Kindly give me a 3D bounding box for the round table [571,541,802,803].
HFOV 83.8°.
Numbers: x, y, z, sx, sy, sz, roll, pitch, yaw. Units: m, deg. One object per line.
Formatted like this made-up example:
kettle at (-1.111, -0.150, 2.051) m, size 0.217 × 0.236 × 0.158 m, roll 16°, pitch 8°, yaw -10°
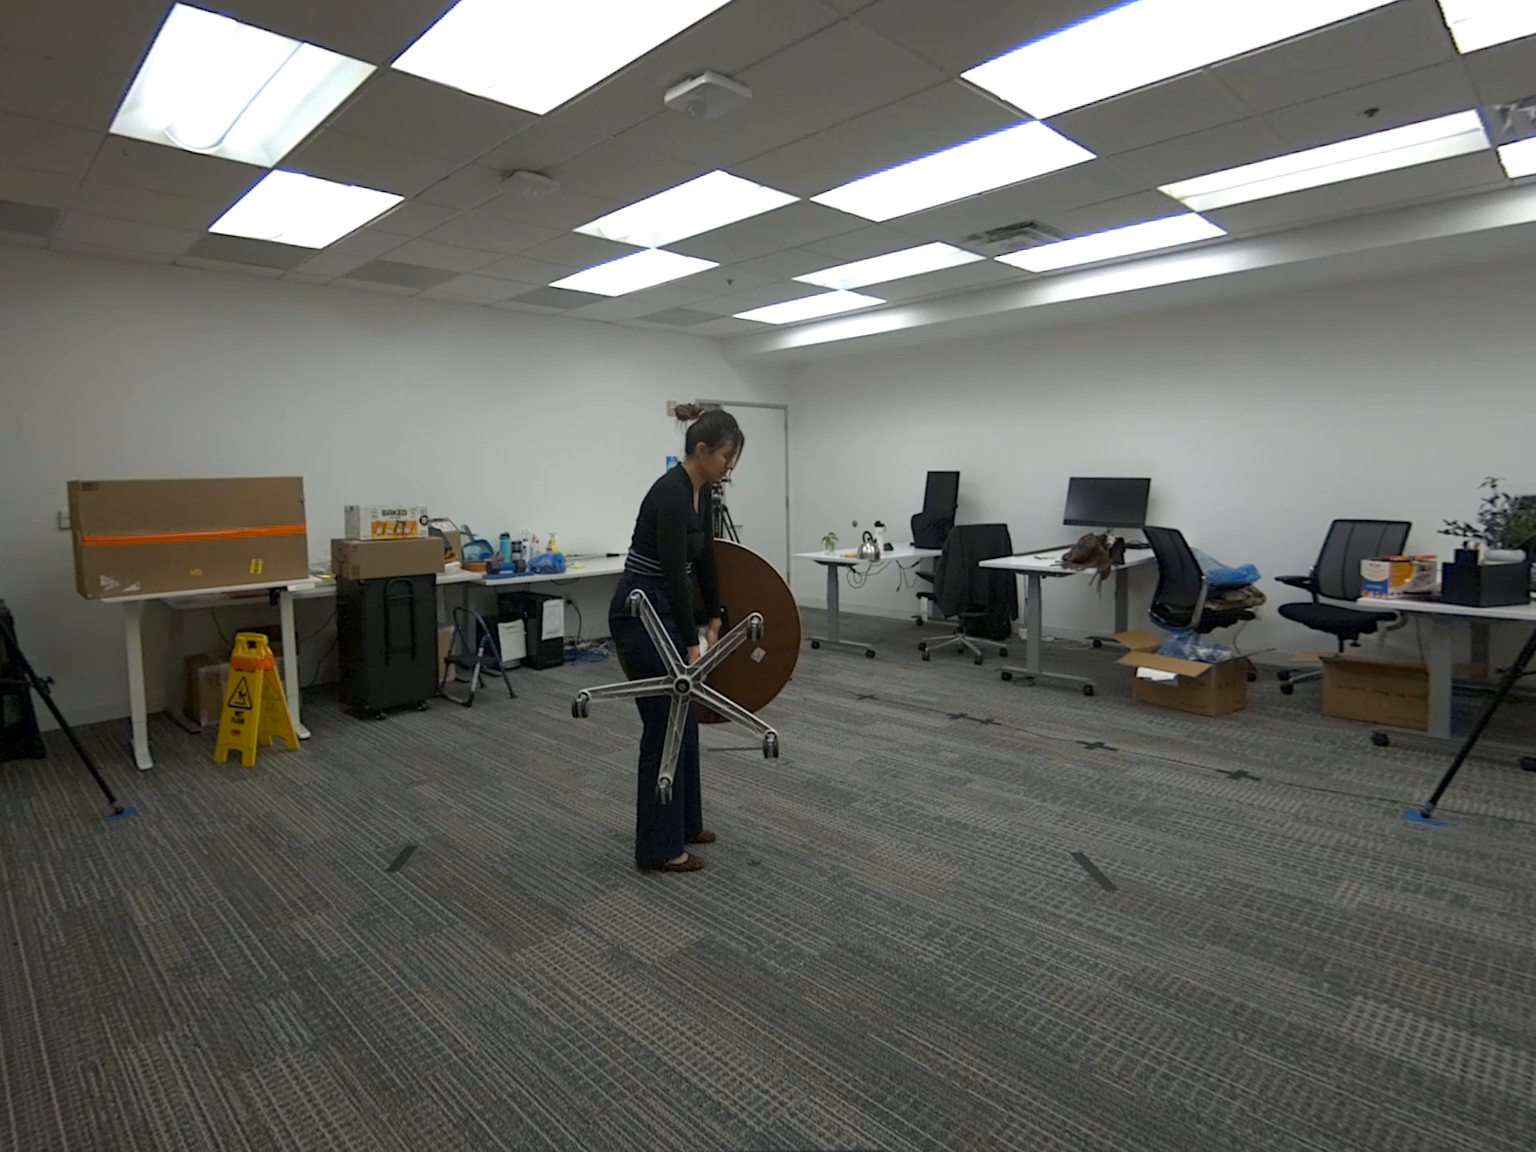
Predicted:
round table at (-0.258, 0.308, 3.074) m, size 0.768 × 0.757 × 0.797 m, roll -1°, pitch 10°, yaw 4°
